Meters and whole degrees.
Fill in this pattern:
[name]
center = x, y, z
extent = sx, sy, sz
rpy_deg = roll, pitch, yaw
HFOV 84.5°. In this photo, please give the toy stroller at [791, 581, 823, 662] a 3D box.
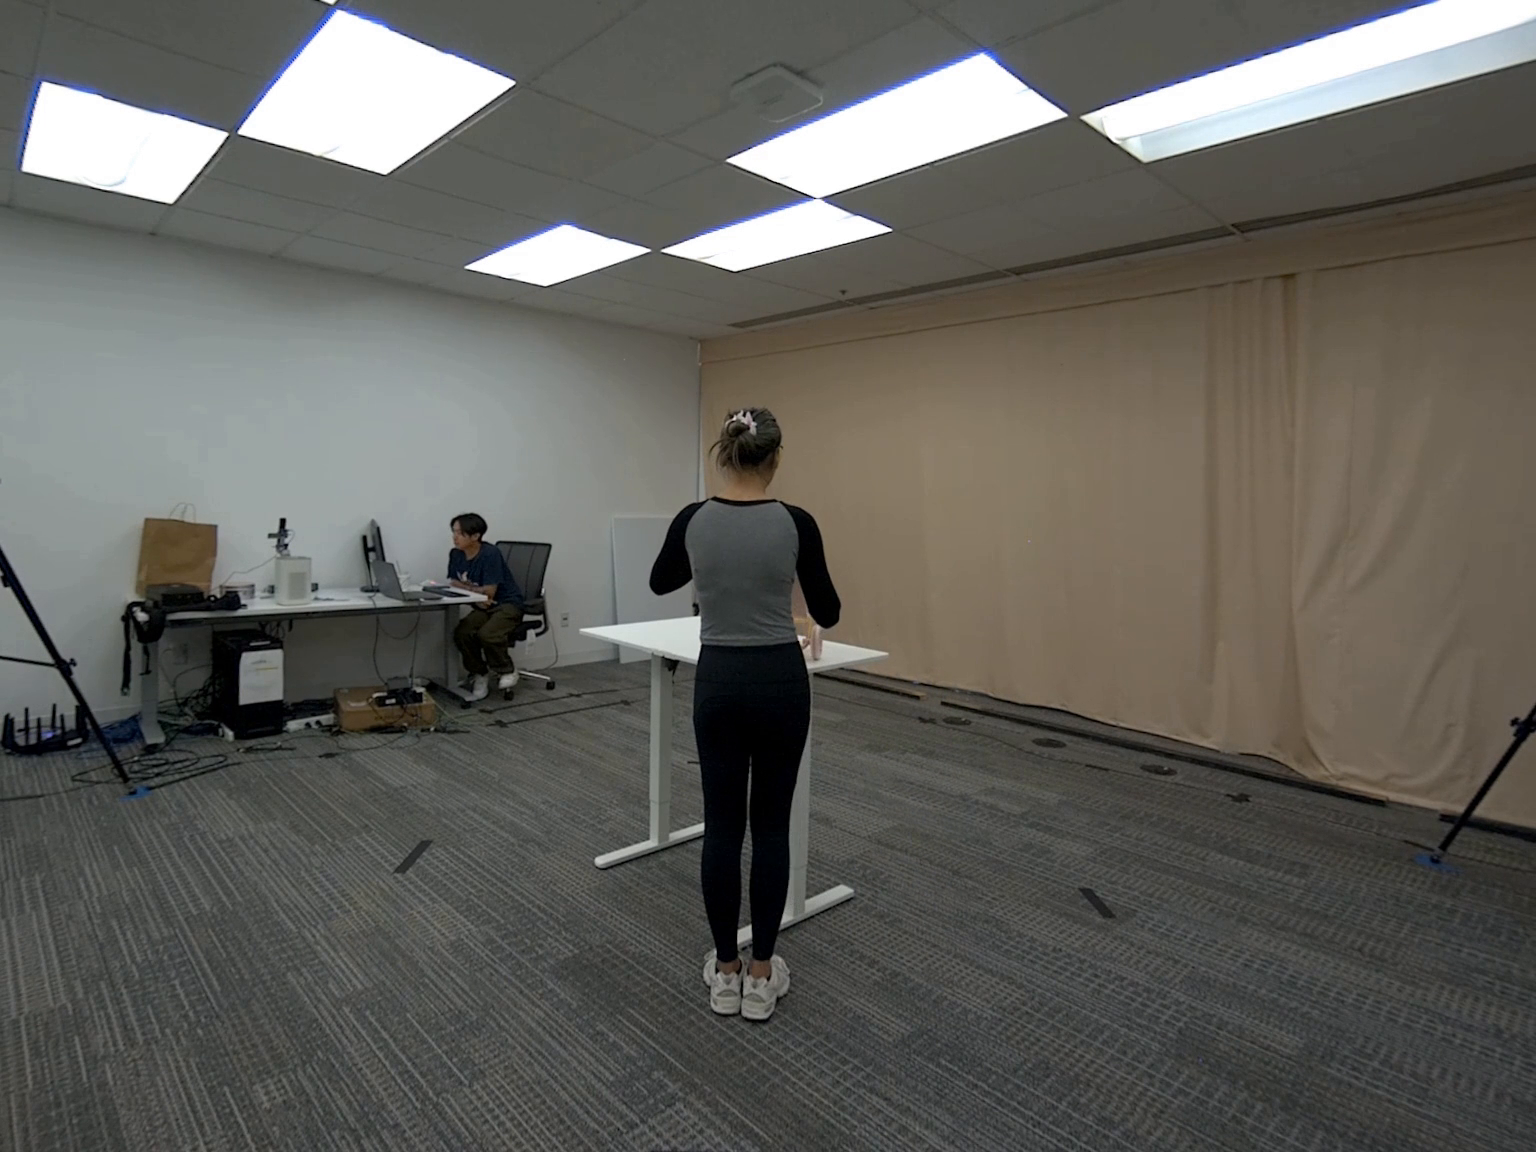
[toy stroller]
center = 0.042, 0.046, 2.771
extent = 0.285, 0.527, 0.342
rpy_deg = 3, 22, 13
